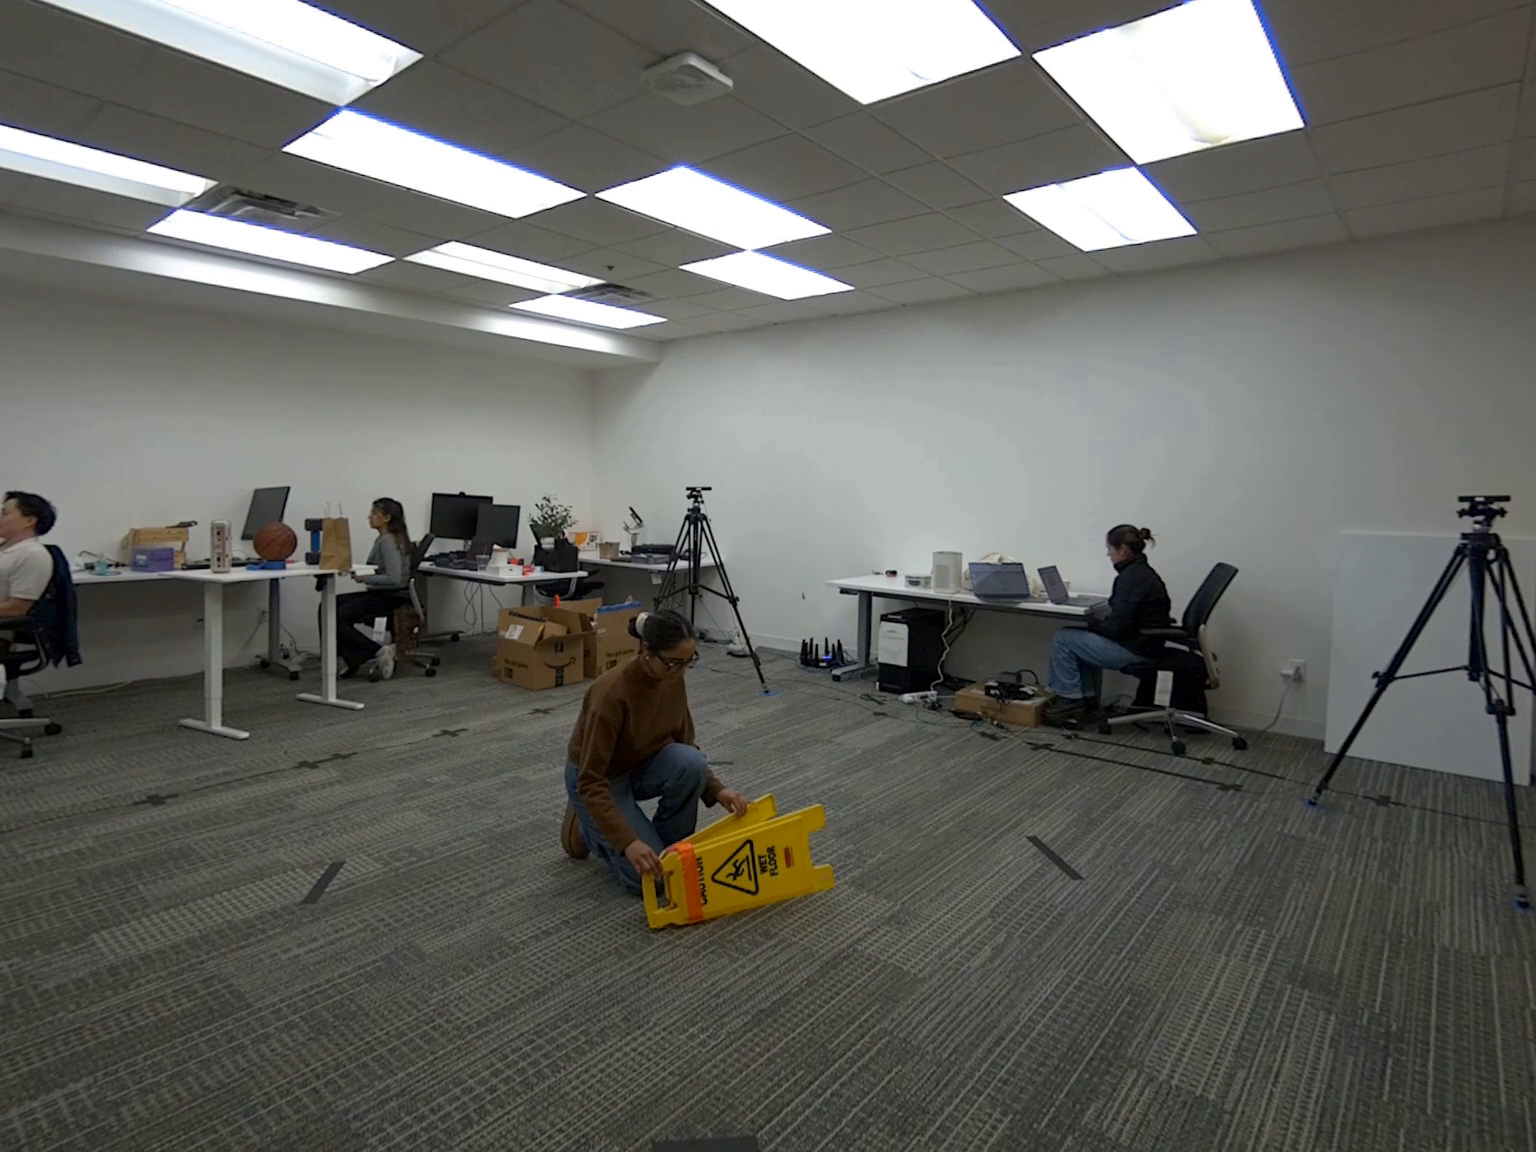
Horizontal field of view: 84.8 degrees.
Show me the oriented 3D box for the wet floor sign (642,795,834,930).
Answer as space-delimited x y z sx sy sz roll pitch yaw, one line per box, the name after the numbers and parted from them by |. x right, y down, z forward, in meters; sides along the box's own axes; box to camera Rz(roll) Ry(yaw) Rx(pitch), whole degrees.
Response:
-0.136 0.964 2.833 0.629 0.283 0.296 -8 -2 -35 | wet floor sign
